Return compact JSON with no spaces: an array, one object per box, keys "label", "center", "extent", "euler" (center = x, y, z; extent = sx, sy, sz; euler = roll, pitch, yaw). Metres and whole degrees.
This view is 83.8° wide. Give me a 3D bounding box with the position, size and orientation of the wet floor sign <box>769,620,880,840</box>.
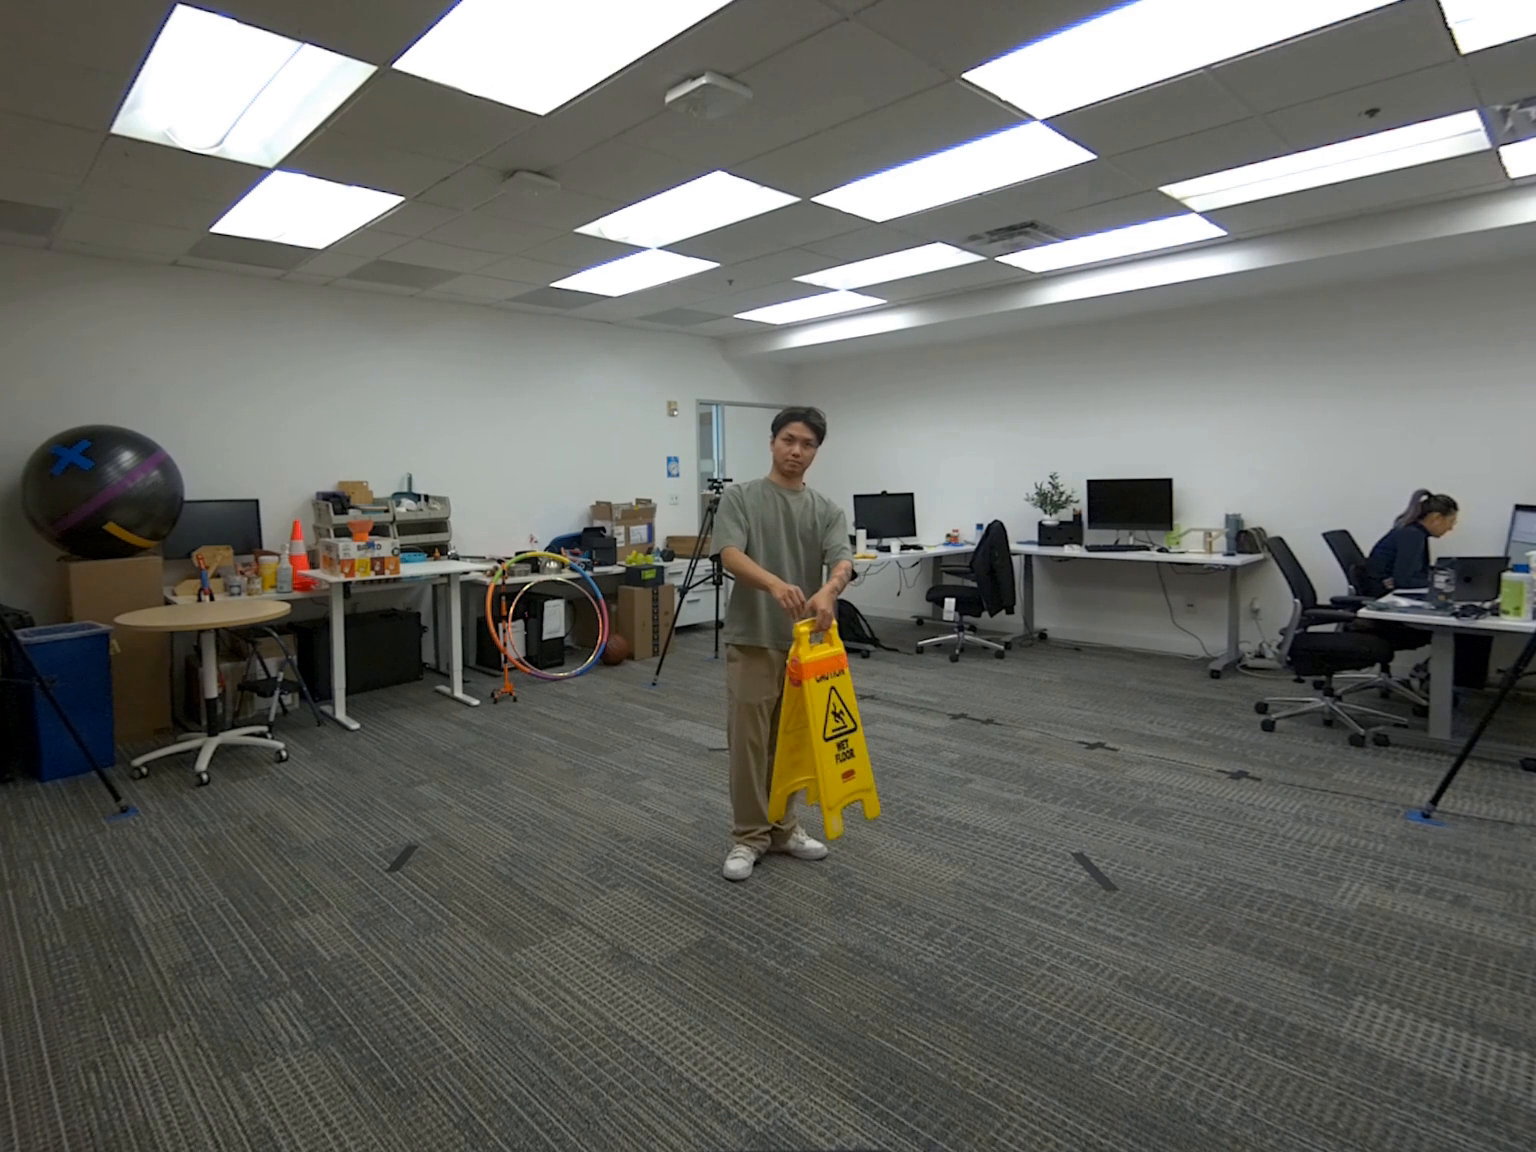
[{"label":"wet floor sign","center":[0.160,0.467,2.757],"extent":[0.298,0.645,0.275],"euler":[-1,3,43]}]
